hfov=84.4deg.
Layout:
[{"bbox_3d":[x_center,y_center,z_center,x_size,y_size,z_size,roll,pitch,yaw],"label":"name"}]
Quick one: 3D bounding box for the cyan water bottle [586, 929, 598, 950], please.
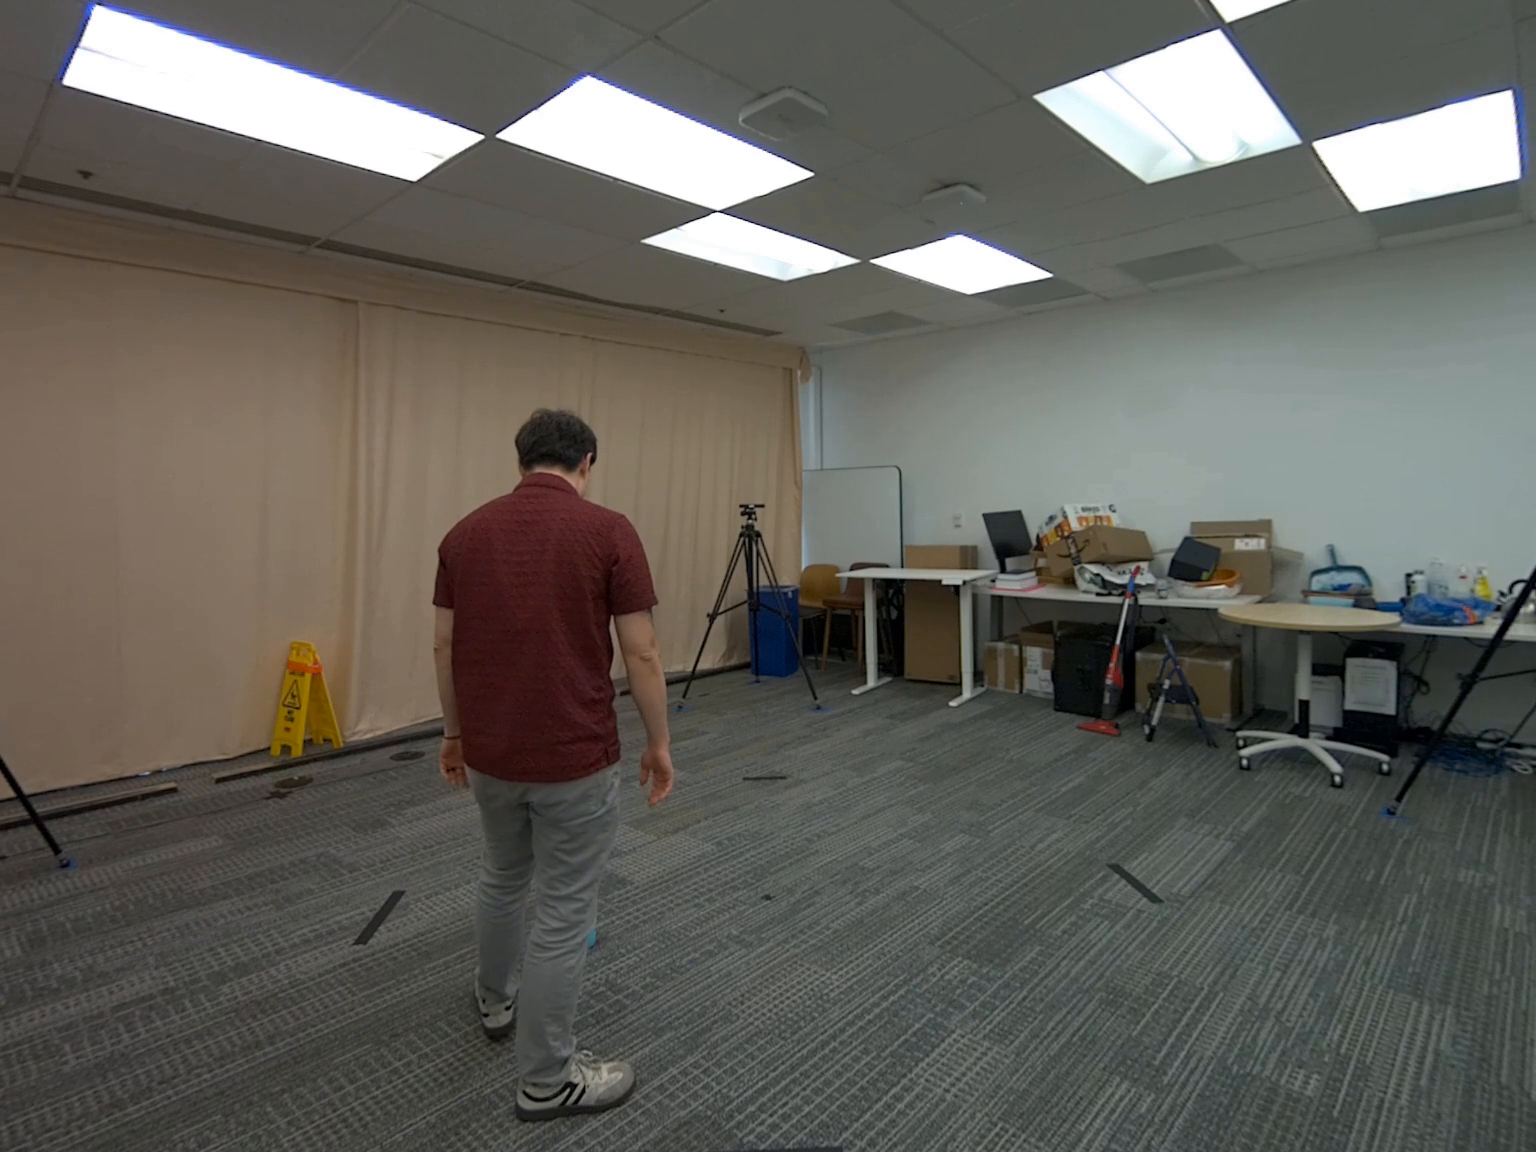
[{"bbox_3d":[-0.598,1.040,2.683,0.092,0.283,0.092,0,3,-2],"label":"cyan water bottle"}]
